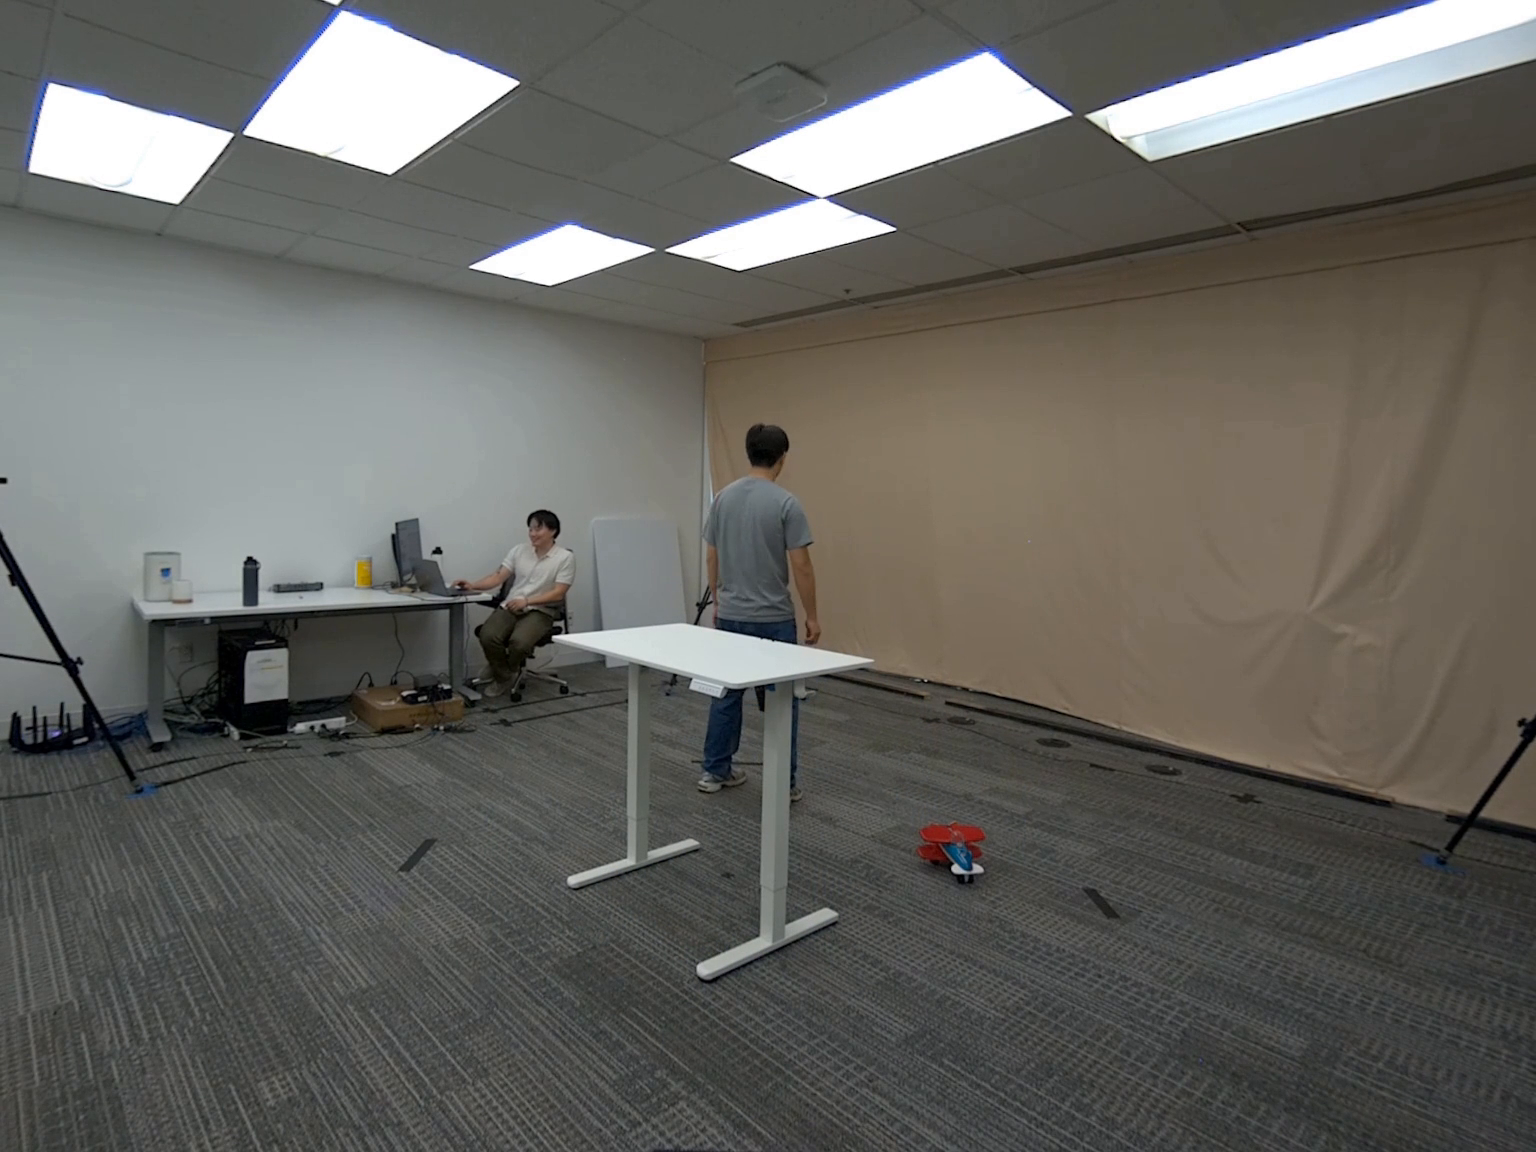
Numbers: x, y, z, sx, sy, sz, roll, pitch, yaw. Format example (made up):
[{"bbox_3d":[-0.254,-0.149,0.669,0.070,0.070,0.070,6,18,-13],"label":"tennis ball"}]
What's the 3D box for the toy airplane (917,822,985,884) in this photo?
[{"bbox_3d":[0.723,1.050,3.187,0.245,0.156,0.266,-2,5,-40],"label":"toy airplane"}]
